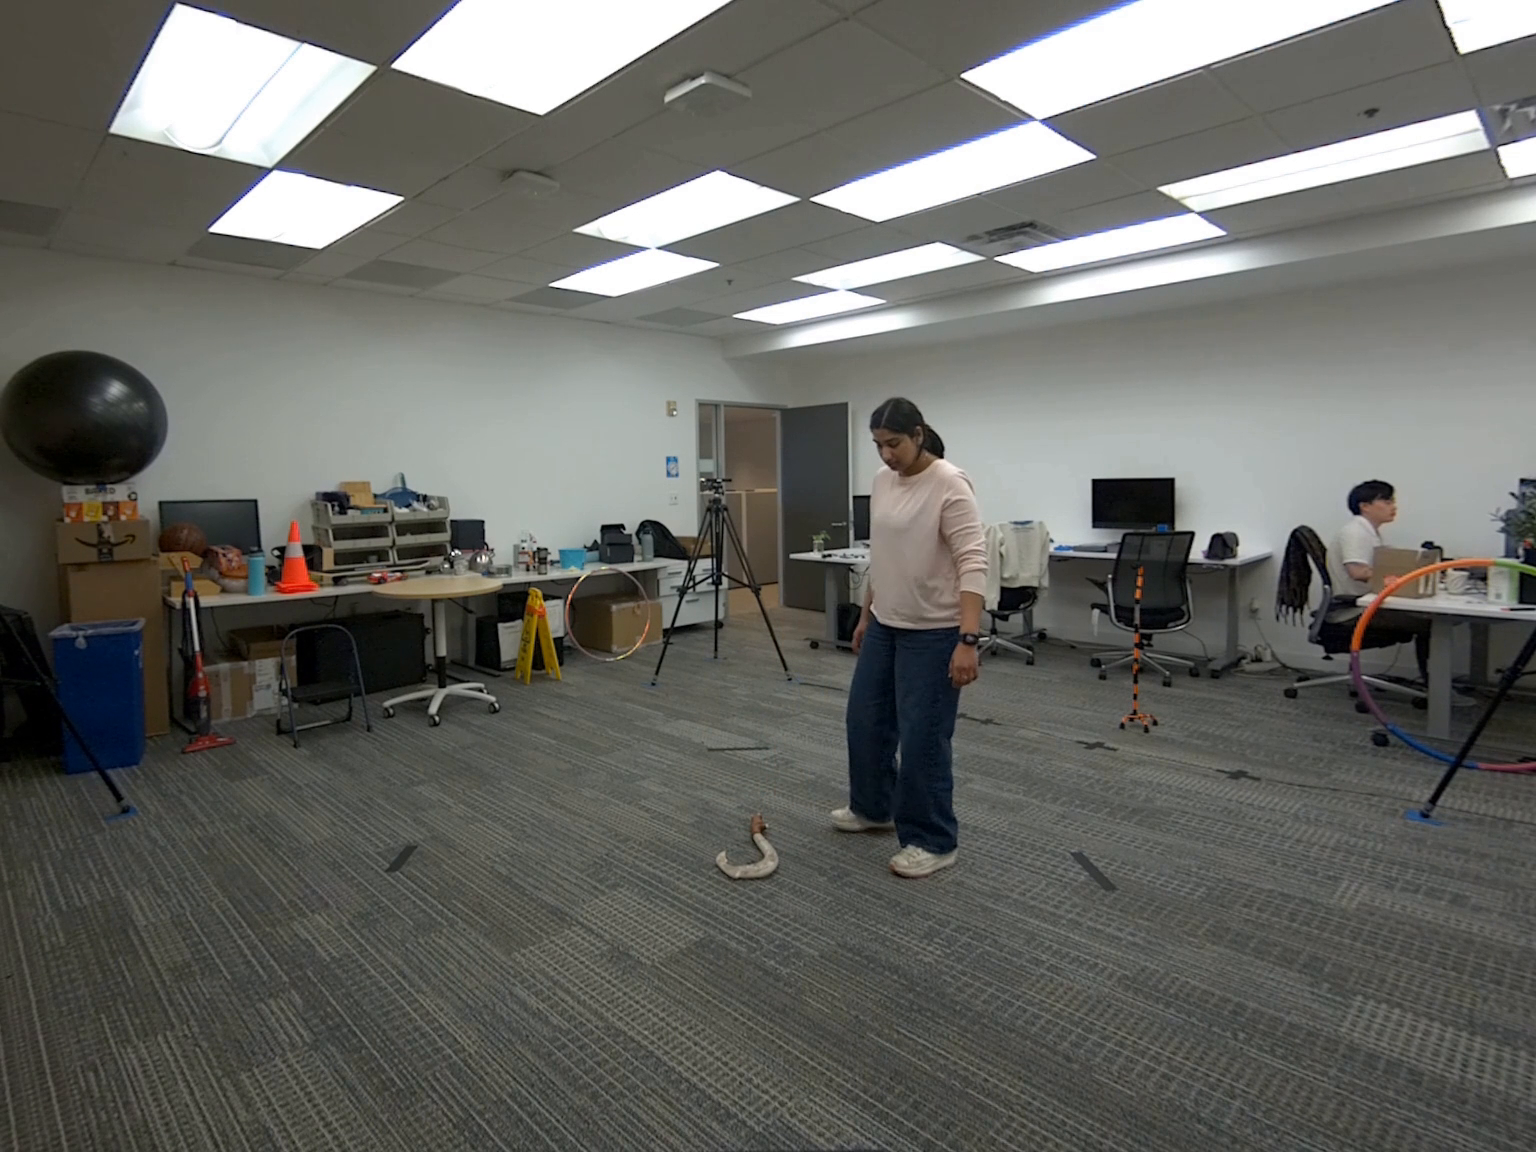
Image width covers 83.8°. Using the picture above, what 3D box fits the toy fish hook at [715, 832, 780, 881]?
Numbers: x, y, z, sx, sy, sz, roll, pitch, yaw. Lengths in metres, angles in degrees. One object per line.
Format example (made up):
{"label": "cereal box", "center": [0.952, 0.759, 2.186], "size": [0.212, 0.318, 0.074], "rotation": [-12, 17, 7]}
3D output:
{"label": "toy fish hook", "center": [-0.082, 1.009, 3.220], "size": [0.224, 0.048, 0.509], "rotation": [0, 6, -3]}
